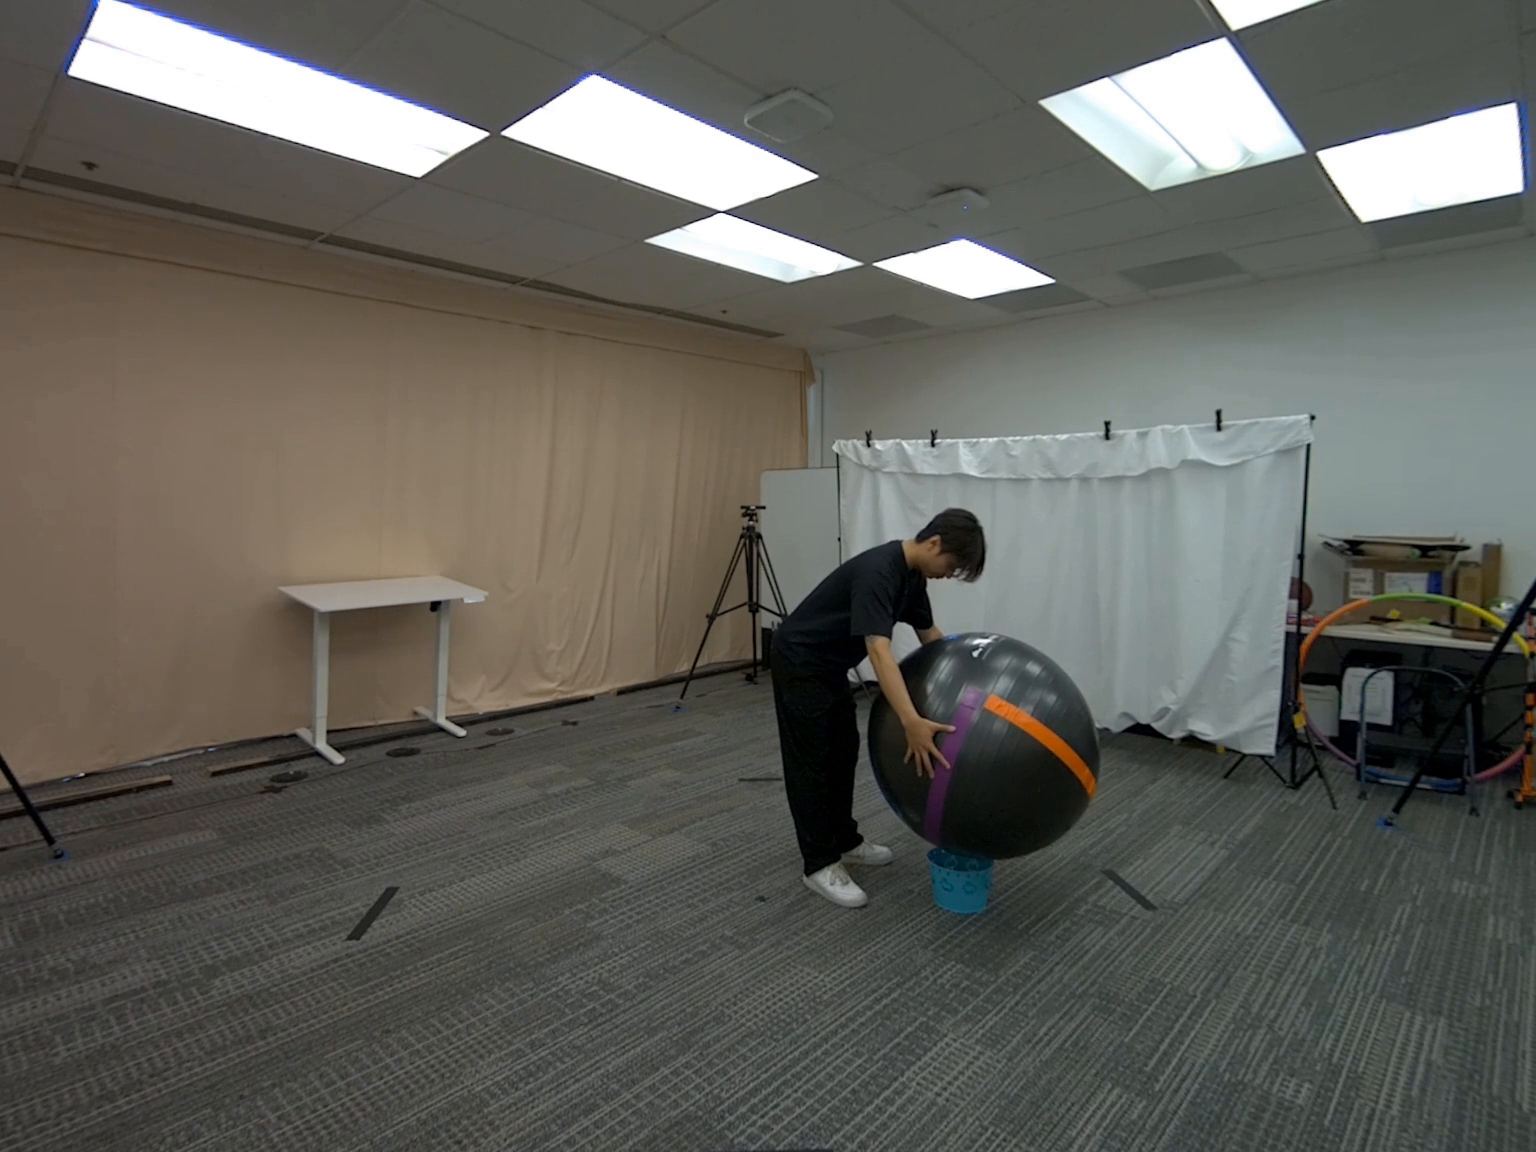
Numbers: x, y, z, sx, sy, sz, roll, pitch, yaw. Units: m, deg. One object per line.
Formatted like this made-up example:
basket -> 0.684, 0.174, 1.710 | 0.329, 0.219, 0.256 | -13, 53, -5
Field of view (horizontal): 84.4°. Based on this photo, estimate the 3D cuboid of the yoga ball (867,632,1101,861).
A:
yoga ball -> 0.750, 0.585, 2.901 | 0.757, 0.756, 0.760 | 0, 4, -2
